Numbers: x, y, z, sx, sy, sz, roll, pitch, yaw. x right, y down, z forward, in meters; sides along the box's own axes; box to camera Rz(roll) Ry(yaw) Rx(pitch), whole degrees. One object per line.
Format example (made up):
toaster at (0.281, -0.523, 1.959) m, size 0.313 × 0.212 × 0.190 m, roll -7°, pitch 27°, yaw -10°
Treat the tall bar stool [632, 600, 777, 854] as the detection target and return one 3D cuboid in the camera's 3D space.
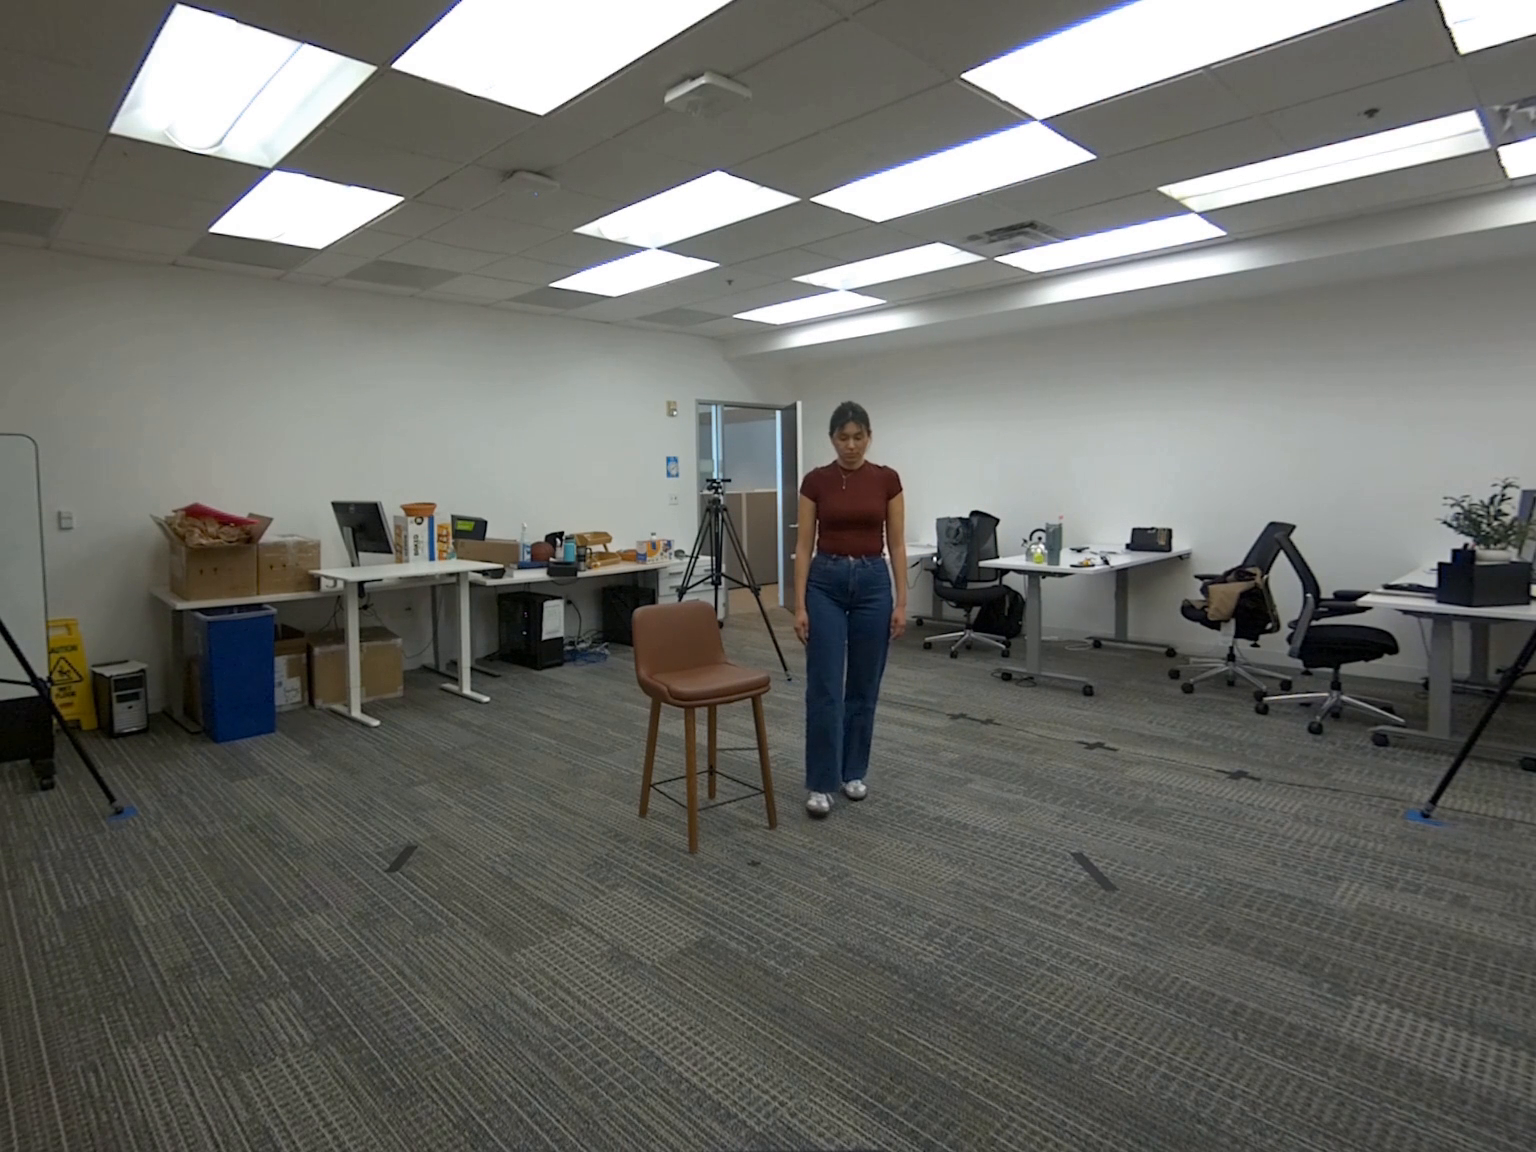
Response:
tall bar stool at (-0.268, 0.574, 3.464) m, size 0.445 × 0.888 × 0.481 m, roll -3°, pitch 3°, yaw -37°
